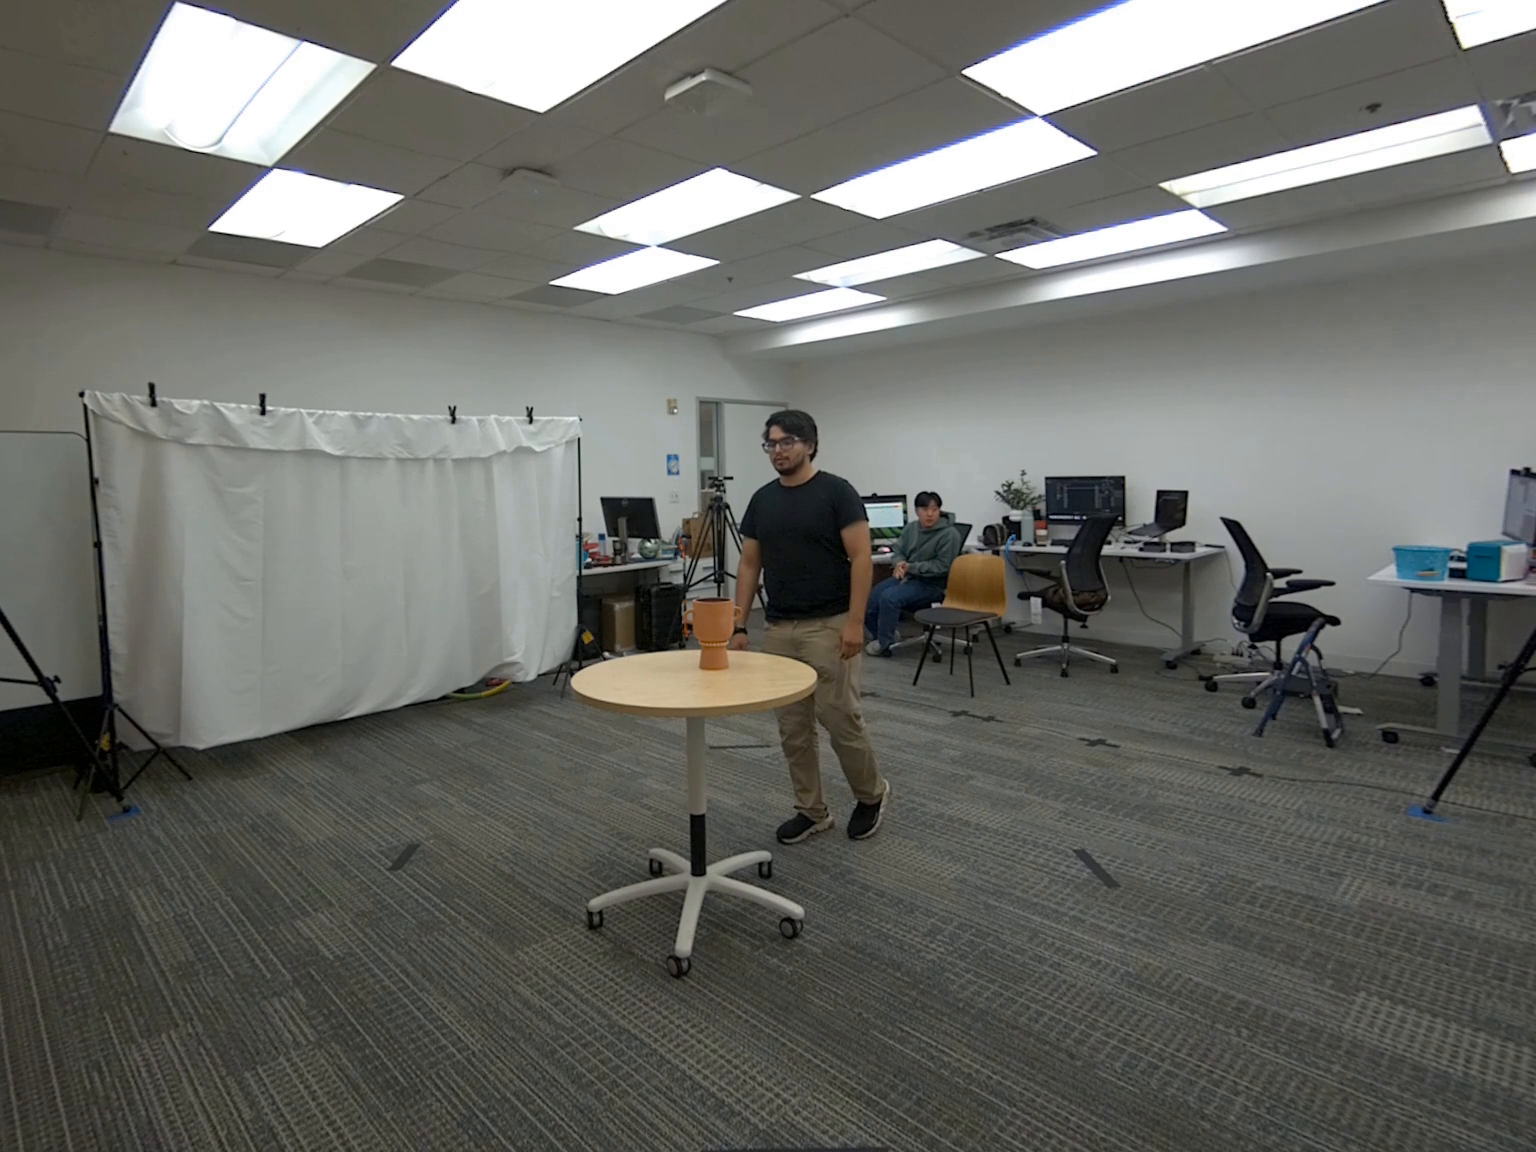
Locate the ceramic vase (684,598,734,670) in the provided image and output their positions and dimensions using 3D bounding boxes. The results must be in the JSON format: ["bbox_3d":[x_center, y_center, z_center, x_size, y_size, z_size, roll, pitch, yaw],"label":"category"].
[{"bbox_3d":[-0.175,0.190,2.775,0.162,0.219,0.132,1,4,21],"label":"ceramic vase"}]
